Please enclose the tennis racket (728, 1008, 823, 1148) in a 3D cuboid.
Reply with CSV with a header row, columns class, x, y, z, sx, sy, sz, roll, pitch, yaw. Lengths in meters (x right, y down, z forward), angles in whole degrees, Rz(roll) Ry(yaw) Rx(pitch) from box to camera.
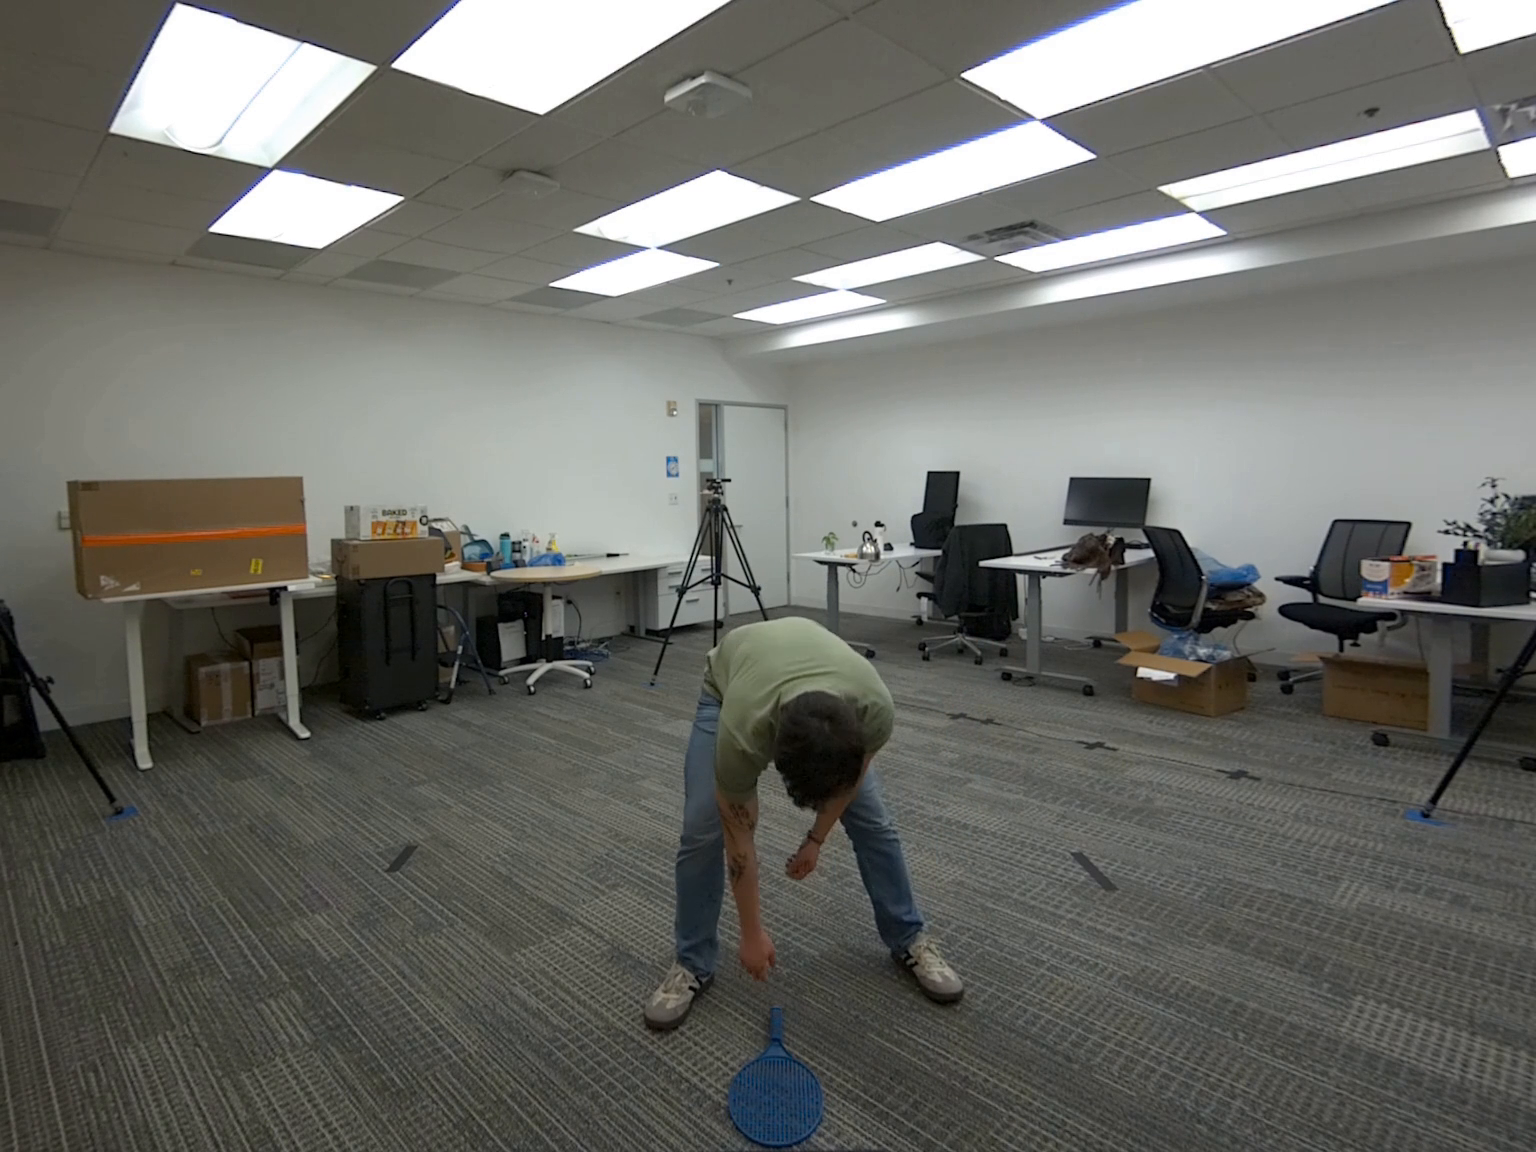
class,x,y,z,sx,sy,sz,roll,pitch,yaw
tennis racket,0.024,1.157,2.012,0.214,0.031,0.434,-1,8,3
